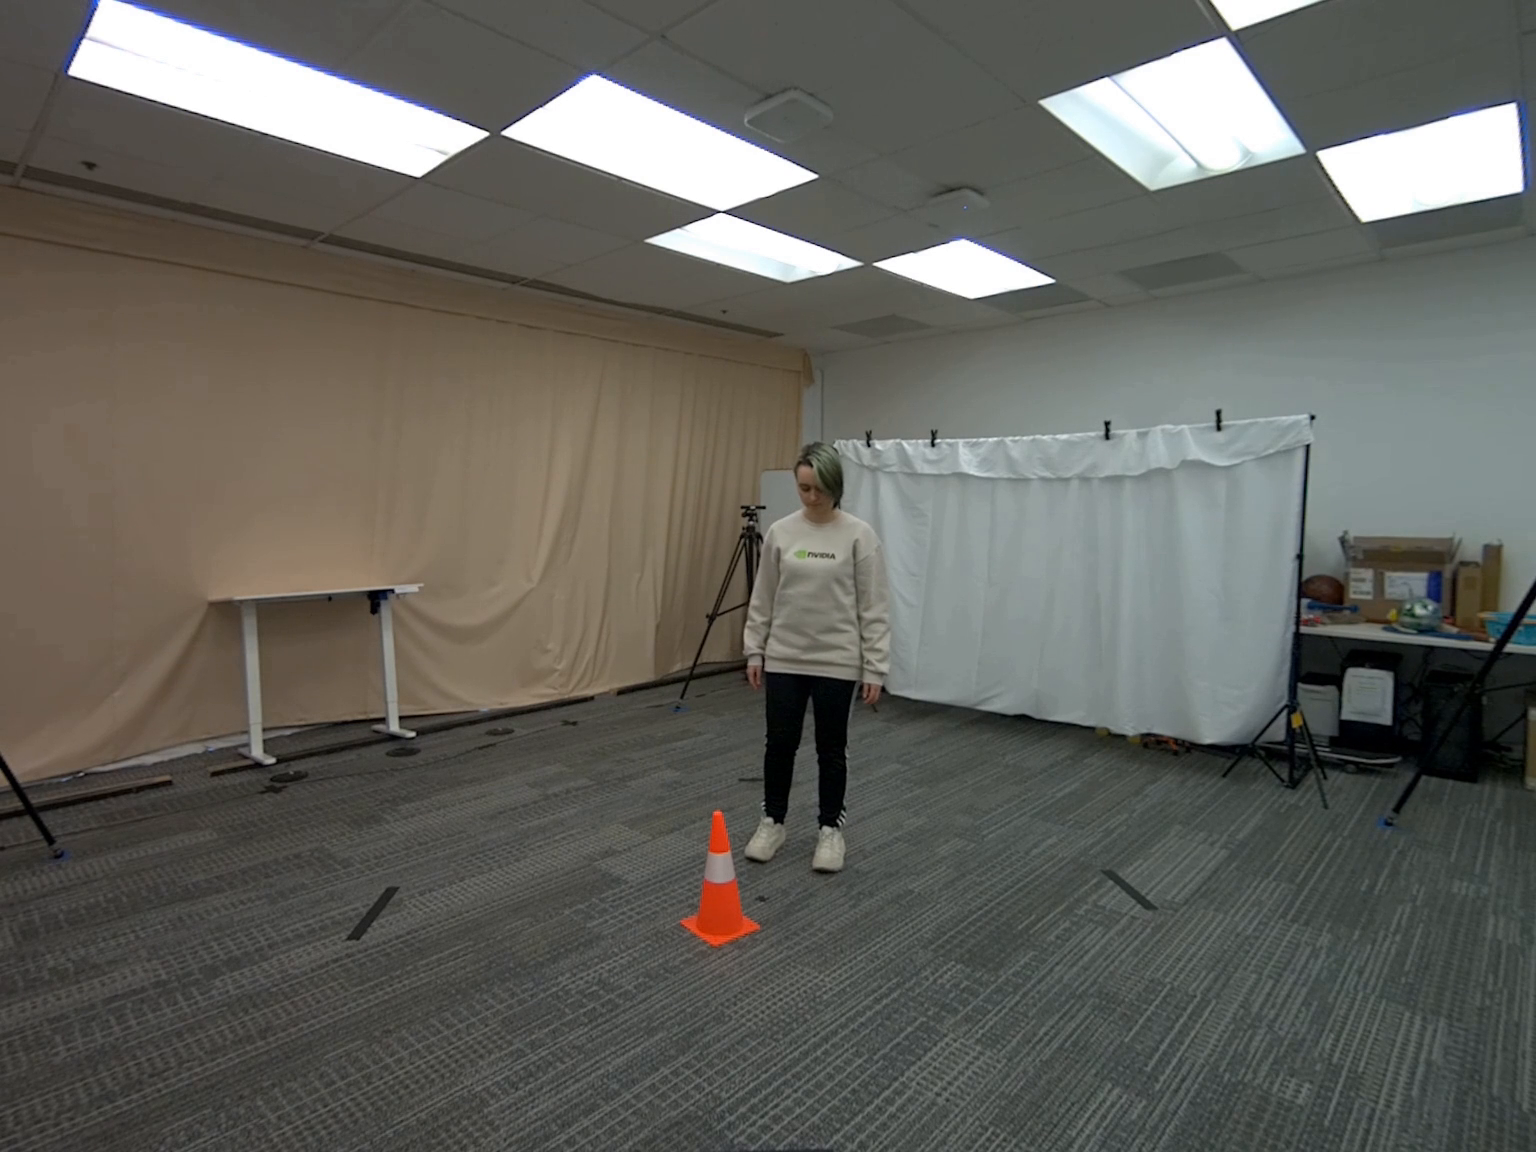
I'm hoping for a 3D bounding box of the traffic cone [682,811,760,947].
[{"bbox_3d":[-0.158,0.978,2.791,0.197,0.383,0.211,-2,2,-37],"label":"traffic cone"}]
